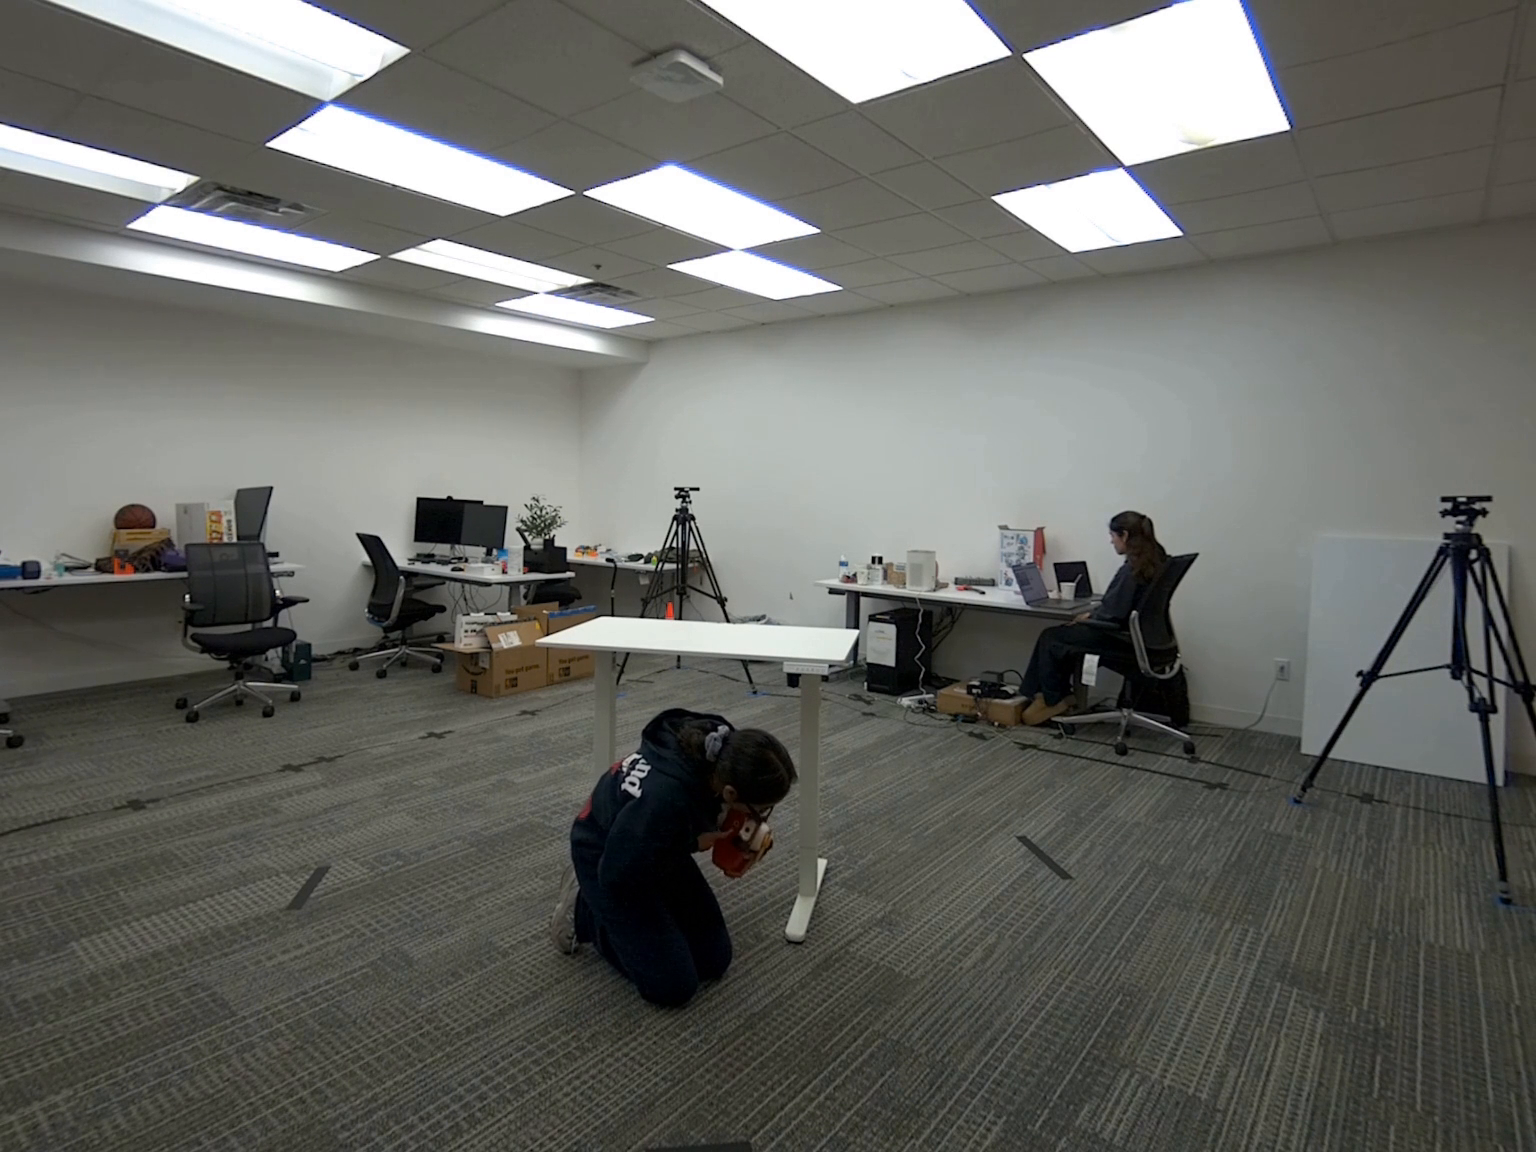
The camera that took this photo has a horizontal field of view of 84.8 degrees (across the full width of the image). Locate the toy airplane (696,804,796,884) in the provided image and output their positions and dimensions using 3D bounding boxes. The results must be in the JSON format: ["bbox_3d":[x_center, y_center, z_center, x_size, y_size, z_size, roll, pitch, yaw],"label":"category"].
[{"bbox_3d":[-0.113,0.710,2.496,0.270,0.251,0.150,49,0,36],"label":"toy airplane"}]
